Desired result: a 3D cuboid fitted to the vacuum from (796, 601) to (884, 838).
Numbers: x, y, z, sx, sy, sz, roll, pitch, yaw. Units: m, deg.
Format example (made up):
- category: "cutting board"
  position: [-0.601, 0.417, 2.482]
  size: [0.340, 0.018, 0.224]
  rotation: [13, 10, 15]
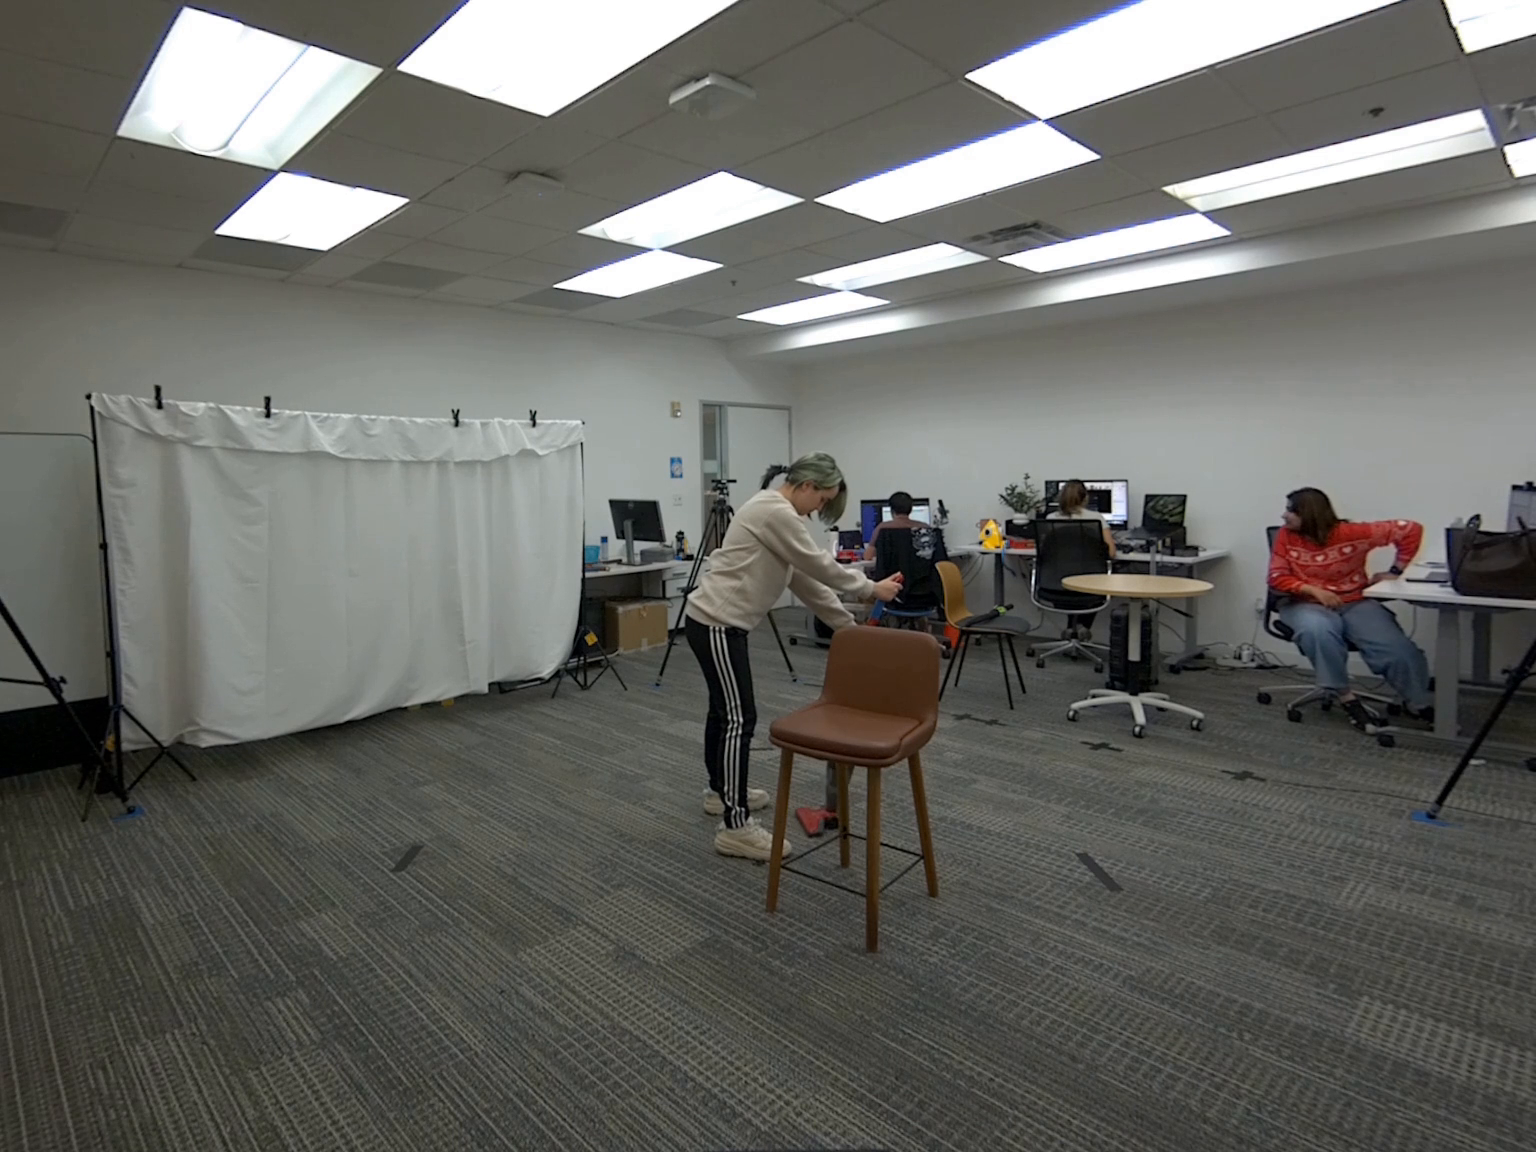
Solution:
- category: "vacuum"
  position: [0.383, 0.517, 3.445]
  size: [0.141, 1.048, 0.257]
  rotation: [21, 2, -15]
